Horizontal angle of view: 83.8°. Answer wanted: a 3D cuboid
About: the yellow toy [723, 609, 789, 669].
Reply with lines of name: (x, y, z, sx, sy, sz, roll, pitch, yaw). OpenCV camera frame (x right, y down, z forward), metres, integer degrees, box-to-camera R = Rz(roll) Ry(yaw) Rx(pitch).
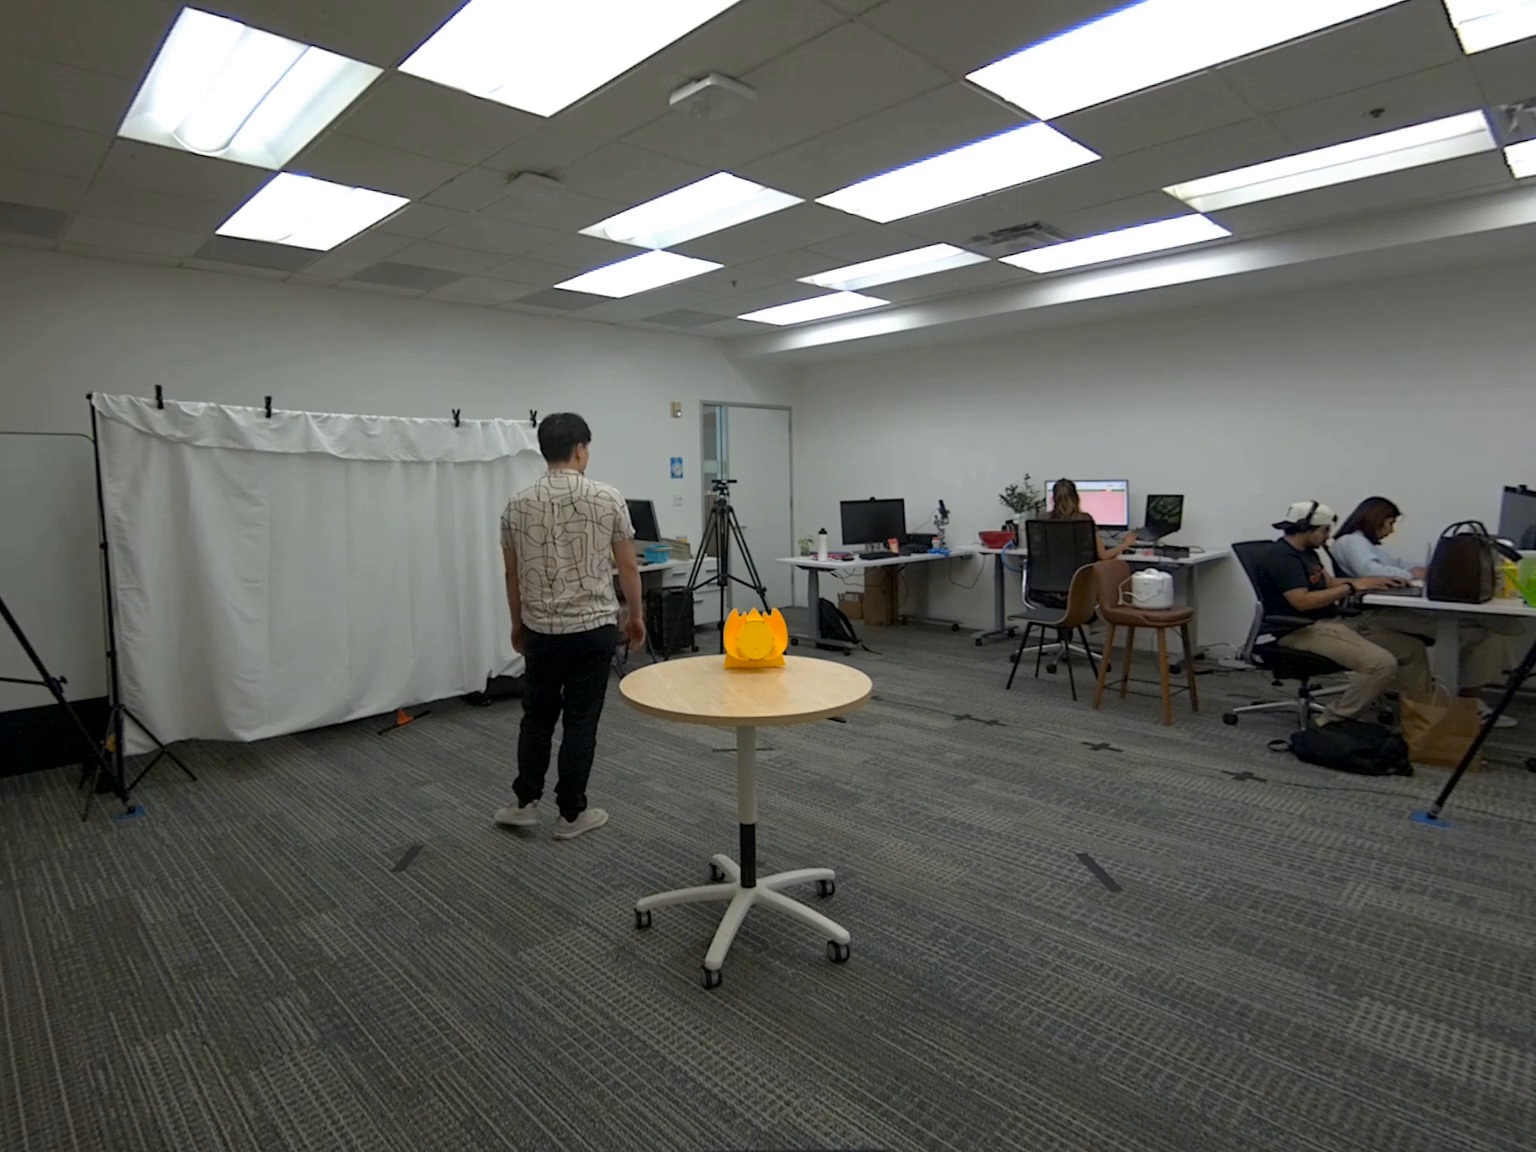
yellow toy: (-0.050, 0.206, 2.823, 0.204, 0.194, 0.230, -2, -7, -5)
